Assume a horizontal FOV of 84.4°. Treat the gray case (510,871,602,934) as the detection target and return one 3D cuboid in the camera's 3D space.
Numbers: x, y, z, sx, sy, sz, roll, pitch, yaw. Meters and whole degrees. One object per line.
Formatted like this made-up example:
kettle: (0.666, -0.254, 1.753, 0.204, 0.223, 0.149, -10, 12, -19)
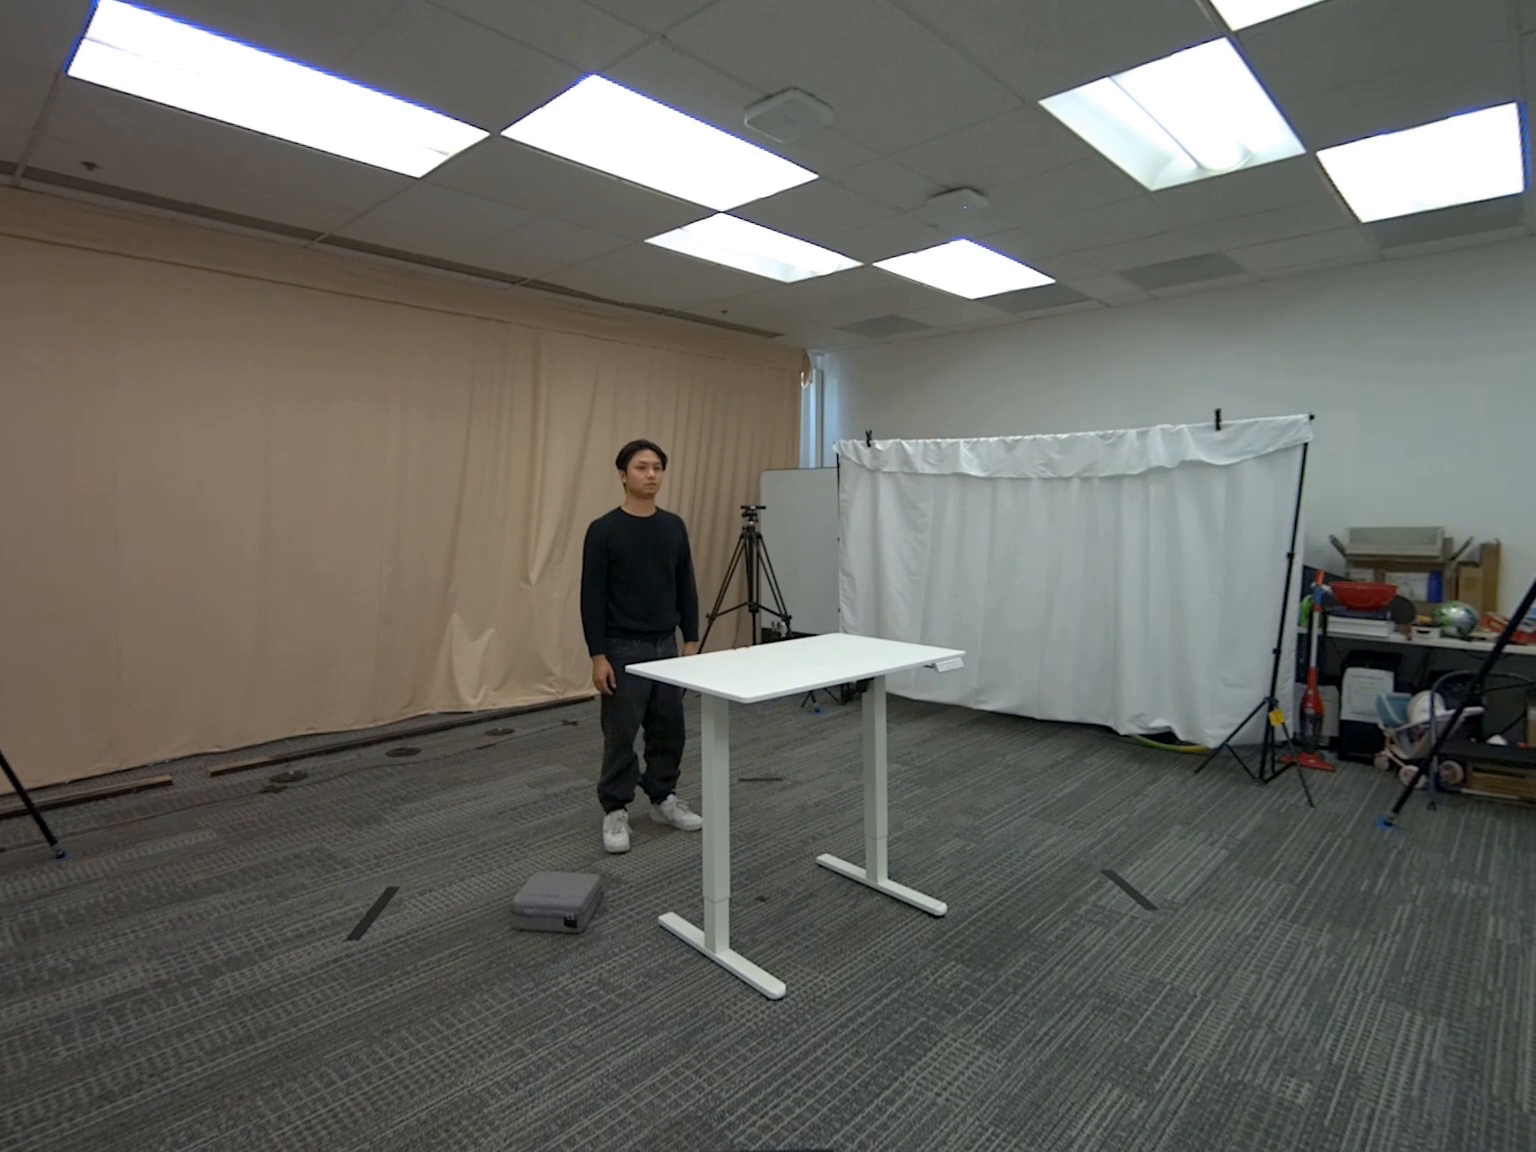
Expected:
gray case: (-0.715, 1.092, 2.871, 0.259, 0.104, 0.259, 0, 5, 8)
